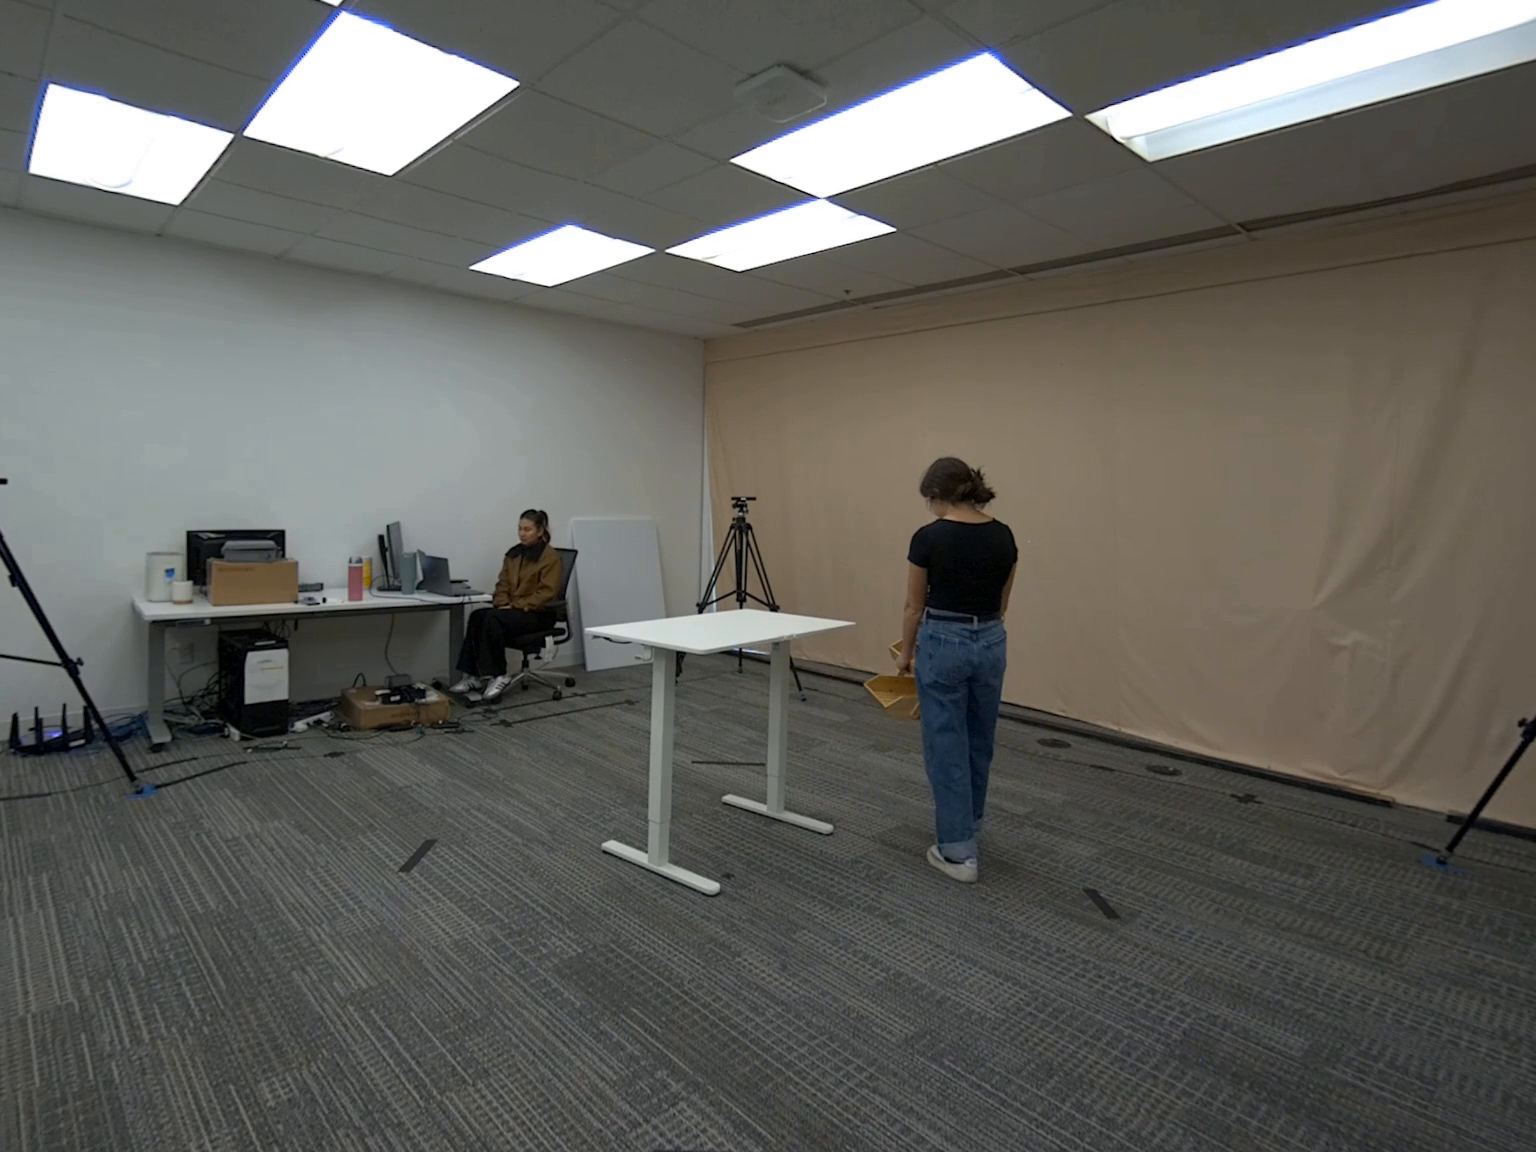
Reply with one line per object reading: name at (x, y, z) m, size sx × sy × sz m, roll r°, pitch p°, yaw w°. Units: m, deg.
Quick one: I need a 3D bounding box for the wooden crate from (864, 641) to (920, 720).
wooden crate at (0.587, 0.418, 3.456) m, size 0.300 × 0.272 × 0.329 m, roll 8°, pitch 9°, yaw -9°
